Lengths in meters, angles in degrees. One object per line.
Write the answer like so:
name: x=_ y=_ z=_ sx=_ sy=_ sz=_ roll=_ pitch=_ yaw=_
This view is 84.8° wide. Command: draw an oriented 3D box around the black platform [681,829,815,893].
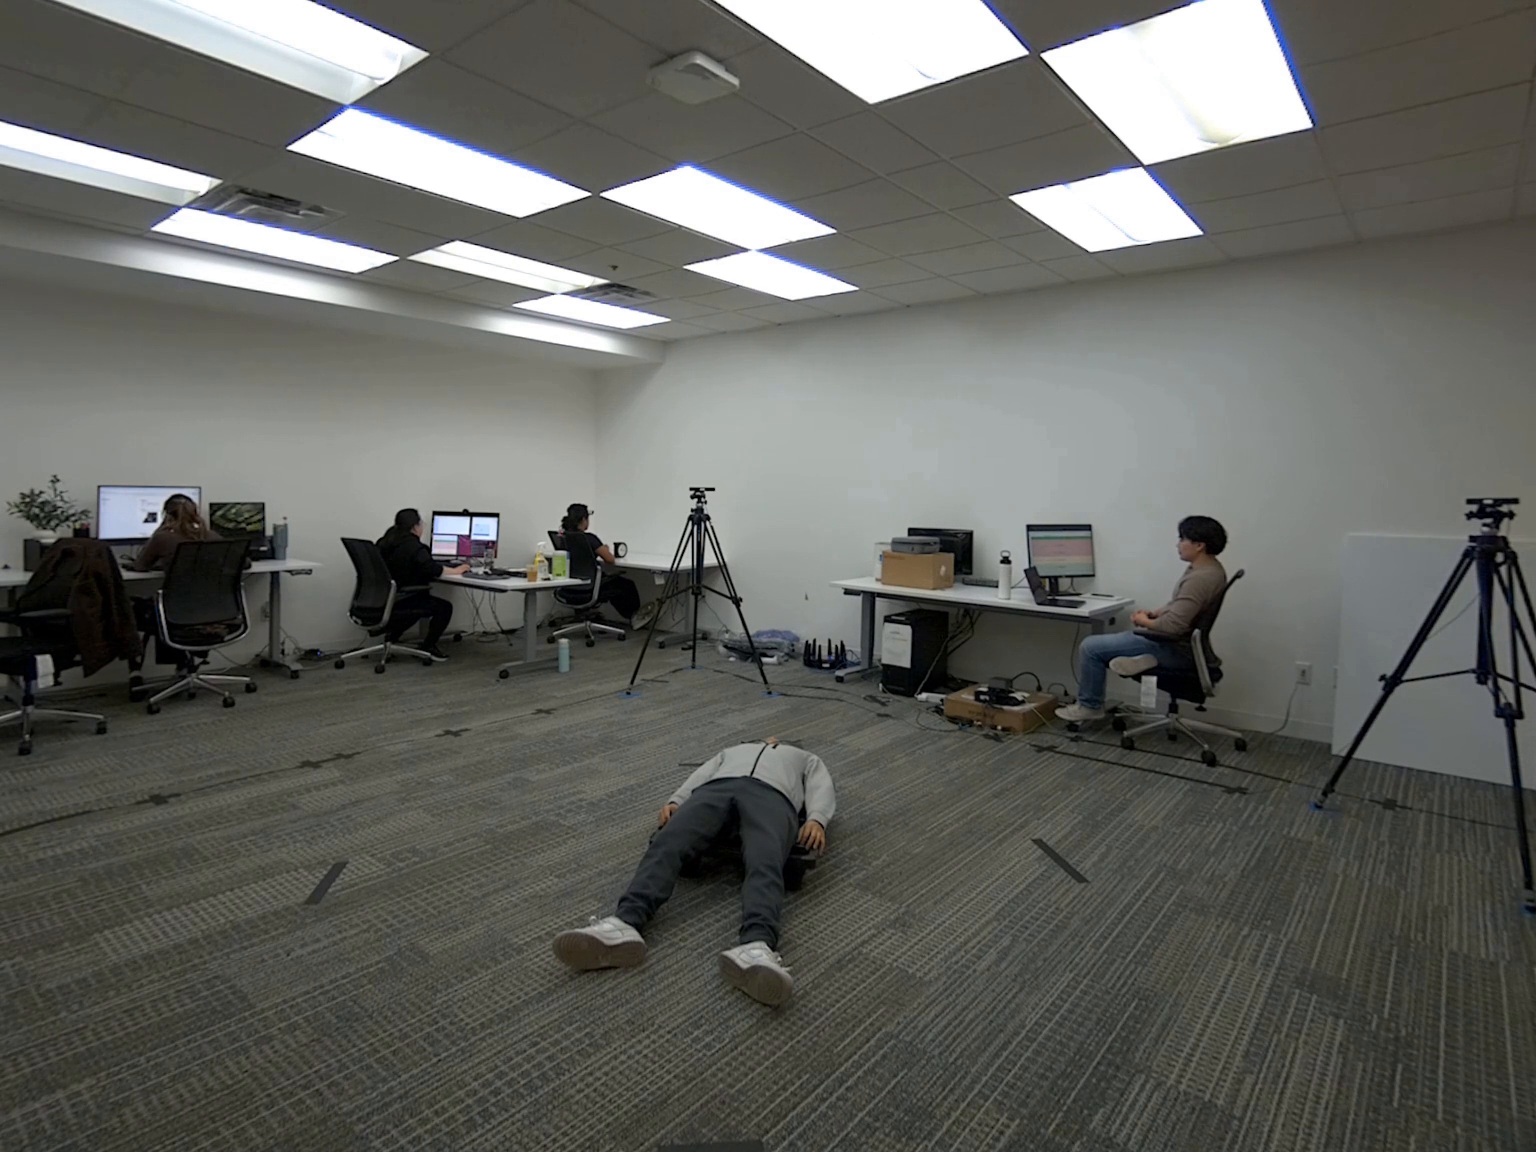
black platform: x=-0.077 y=0.970 z=3.354 sx=0.614 sy=0.143 sz=0.796 roll=1 pitch=4 yaw=13
